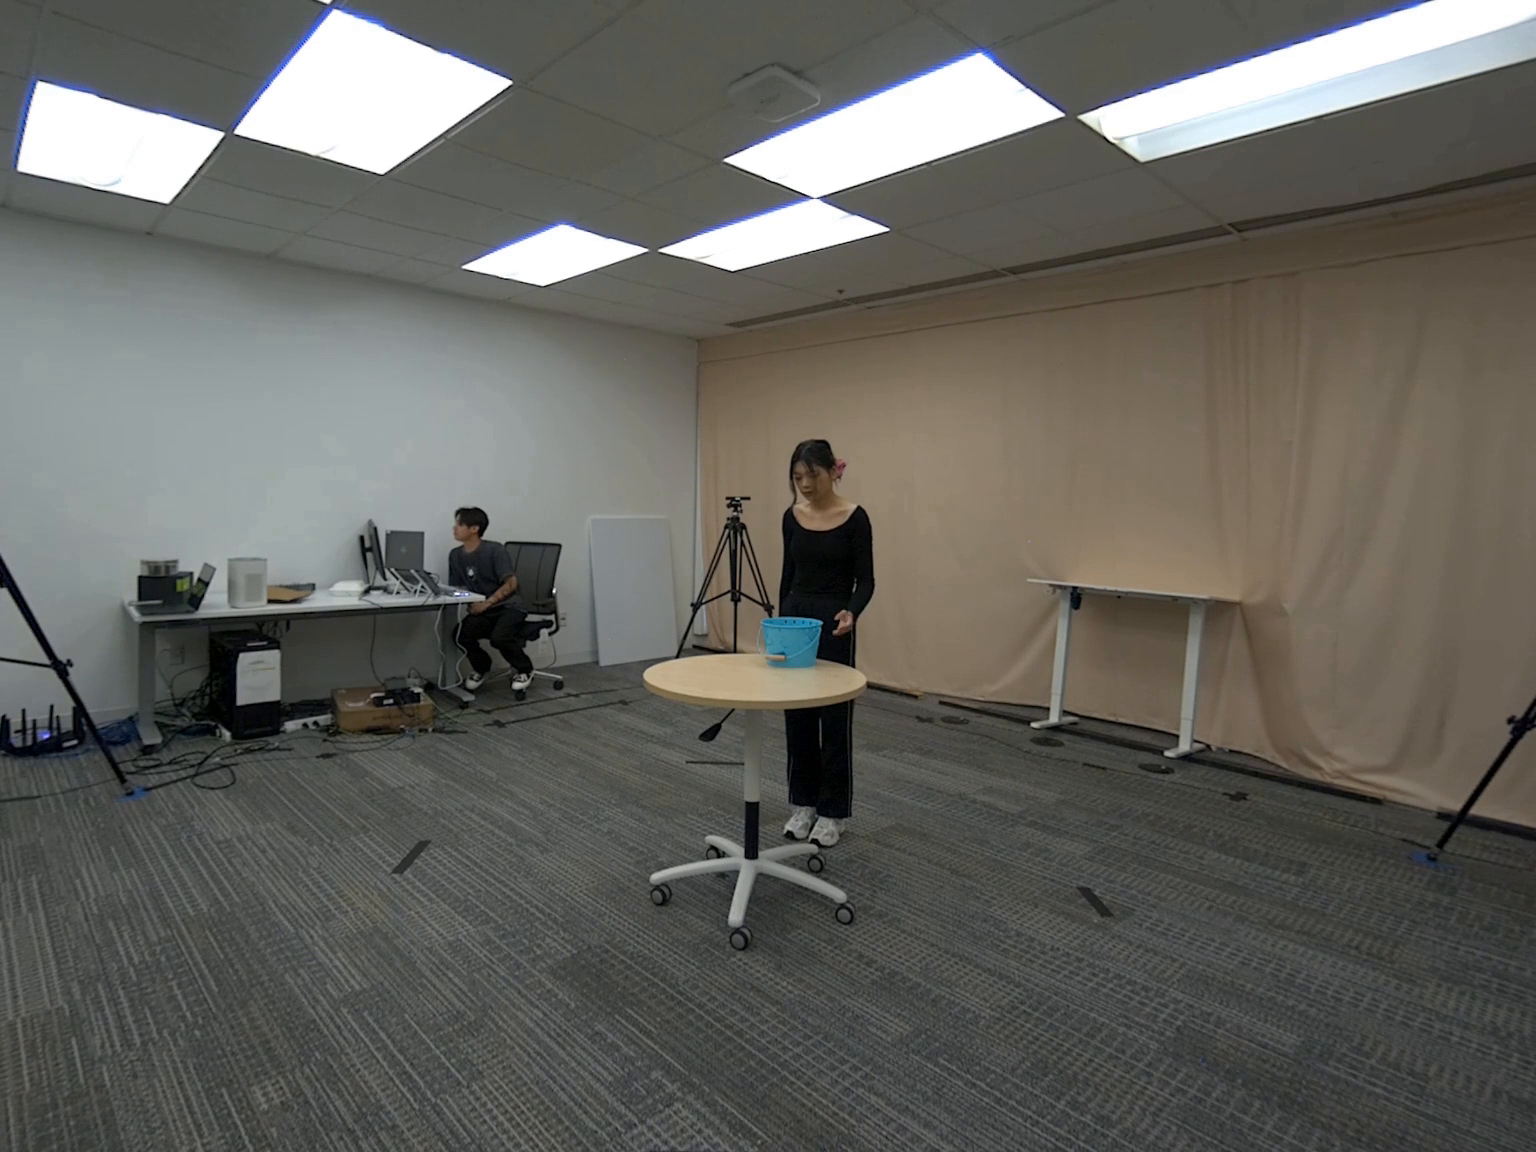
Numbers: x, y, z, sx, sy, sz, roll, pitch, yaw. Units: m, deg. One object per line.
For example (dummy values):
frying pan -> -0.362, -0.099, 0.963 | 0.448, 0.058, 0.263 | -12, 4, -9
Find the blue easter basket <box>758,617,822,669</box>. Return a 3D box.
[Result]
blue easter basket -> 0.057, 0.250, 3.126 | 0.243, 0.155, 0.244 | 0, 3, -1
